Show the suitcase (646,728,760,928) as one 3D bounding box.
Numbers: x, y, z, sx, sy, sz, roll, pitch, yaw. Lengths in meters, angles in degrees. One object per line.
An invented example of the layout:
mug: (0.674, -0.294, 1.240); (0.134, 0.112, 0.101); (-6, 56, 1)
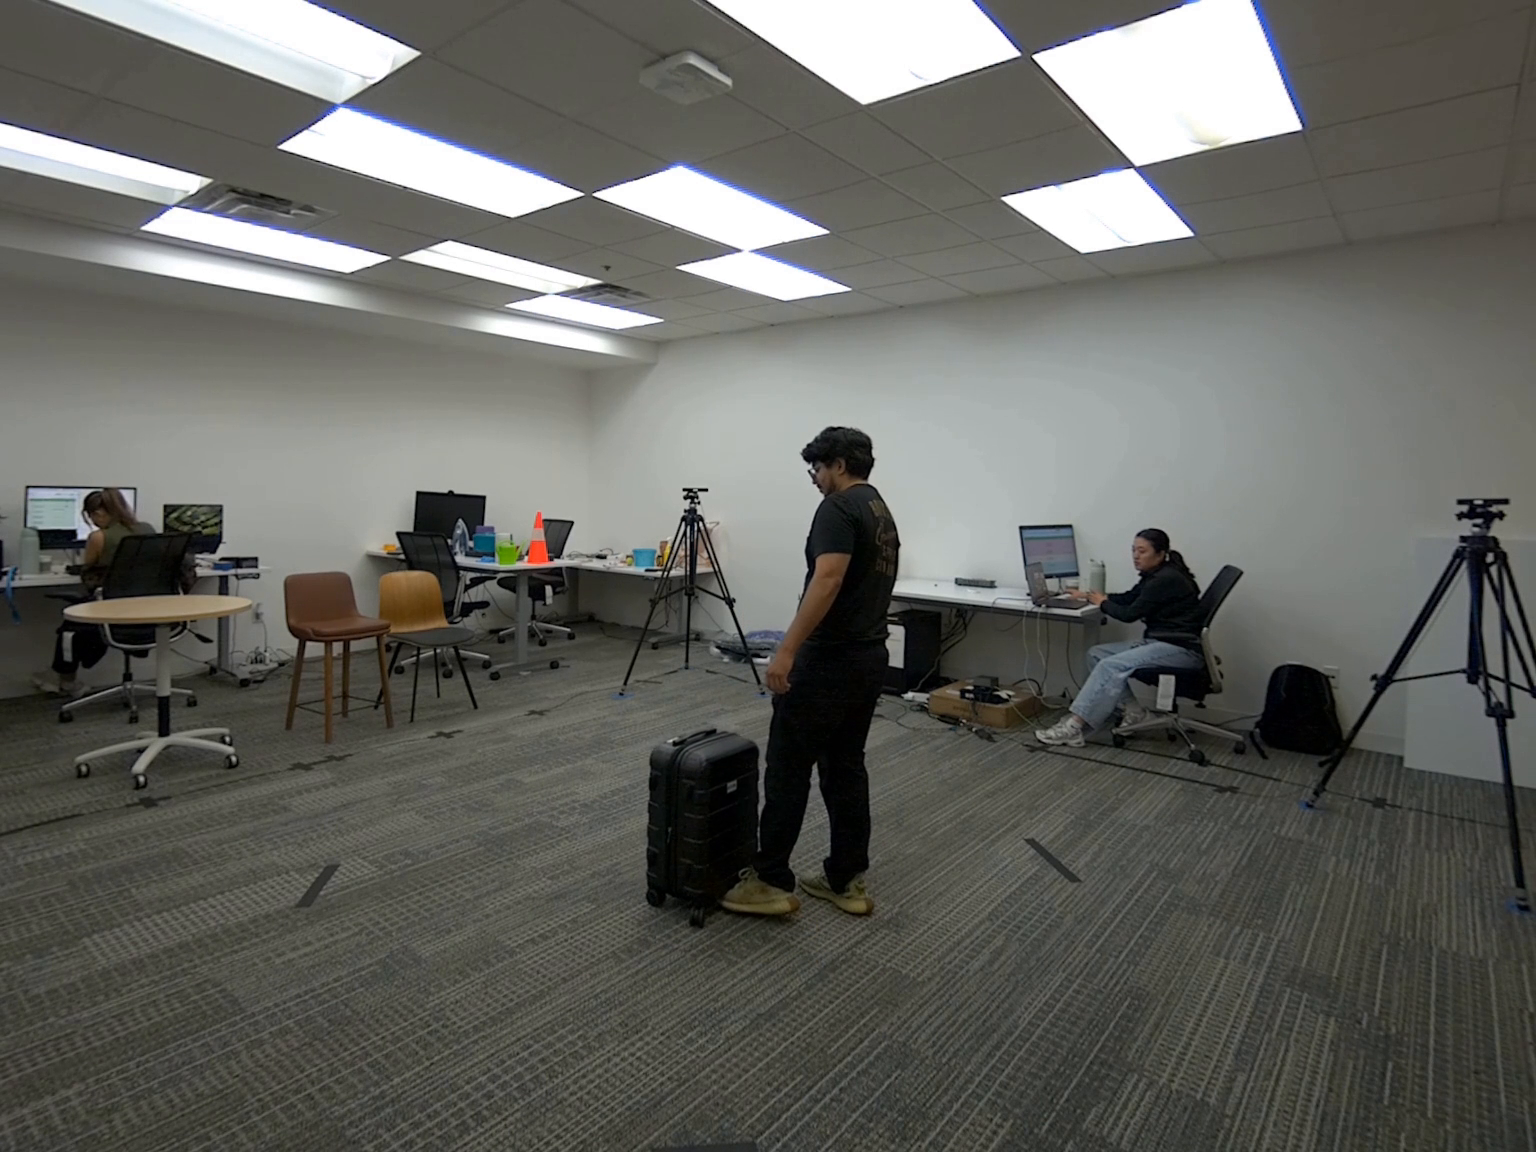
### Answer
suitcase: (-0.225, 0.812, 2.894); (0.256, 0.548, 0.364); (3, 3, 36)
